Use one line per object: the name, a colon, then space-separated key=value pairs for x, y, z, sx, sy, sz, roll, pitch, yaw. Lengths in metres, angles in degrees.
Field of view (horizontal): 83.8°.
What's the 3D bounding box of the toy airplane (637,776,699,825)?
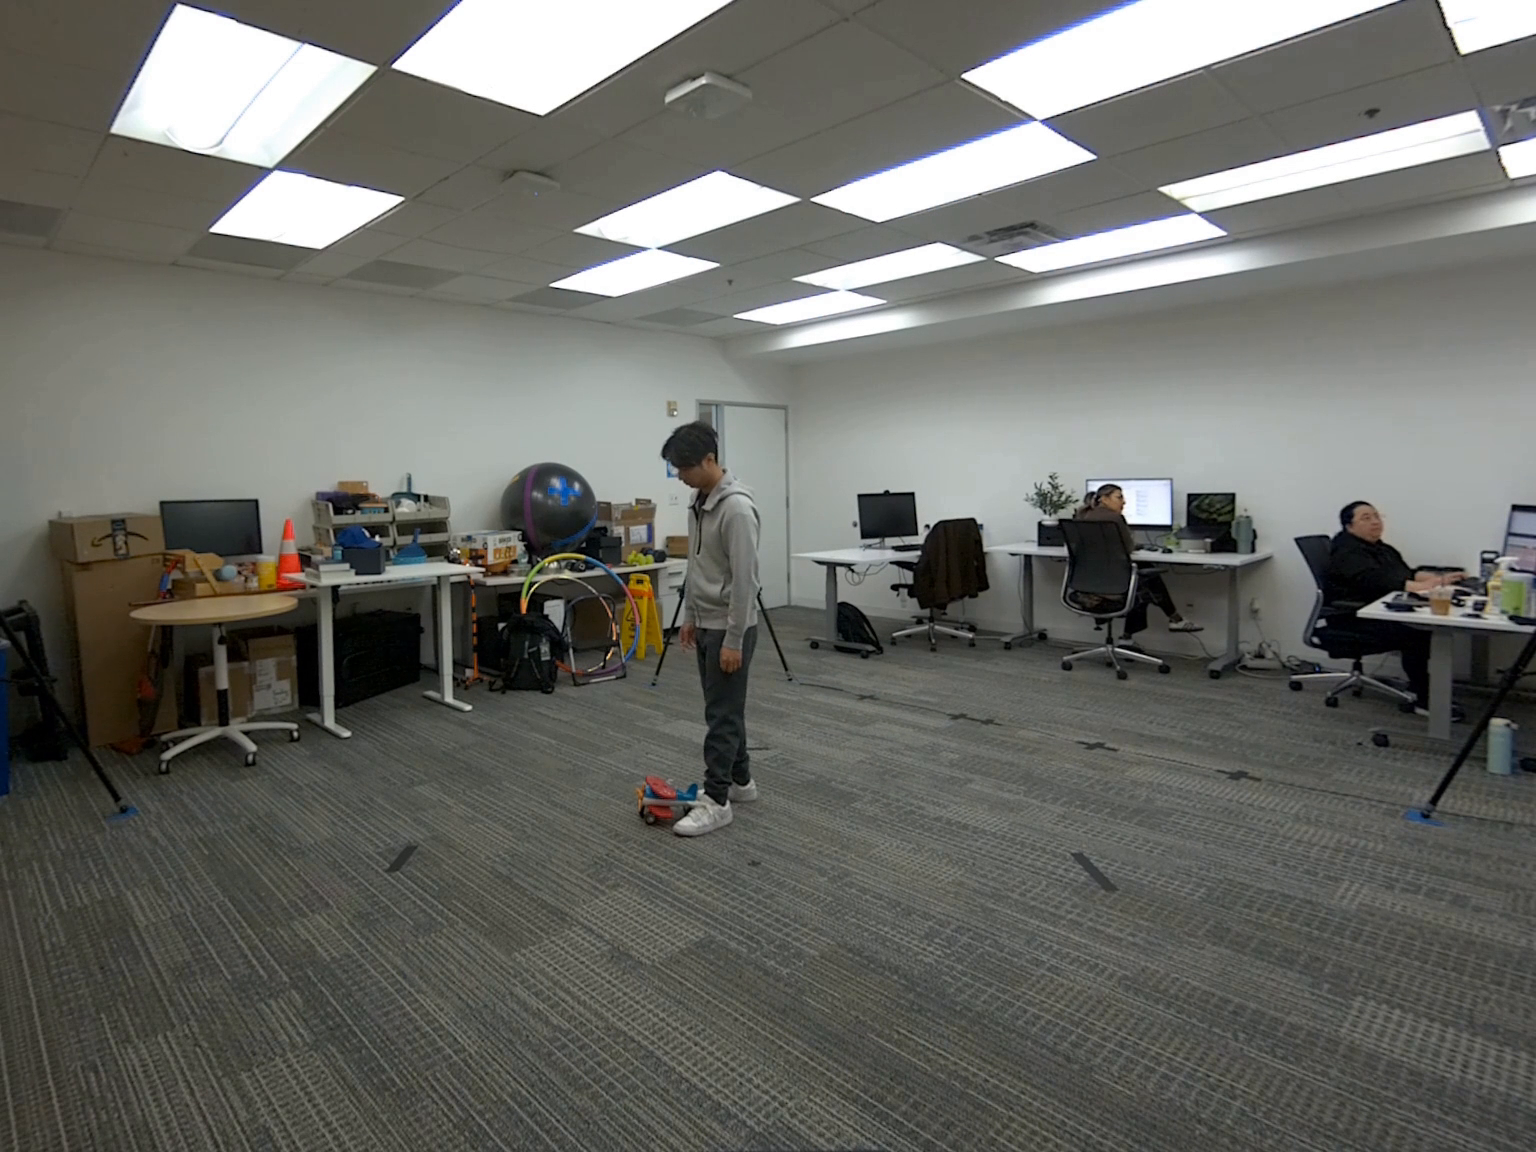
toy airplane: x=-0.420 y=0.927 z=3.553 sx=0.258 sy=0.156 sz=0.253 roll=3 pitch=7 yaw=40
